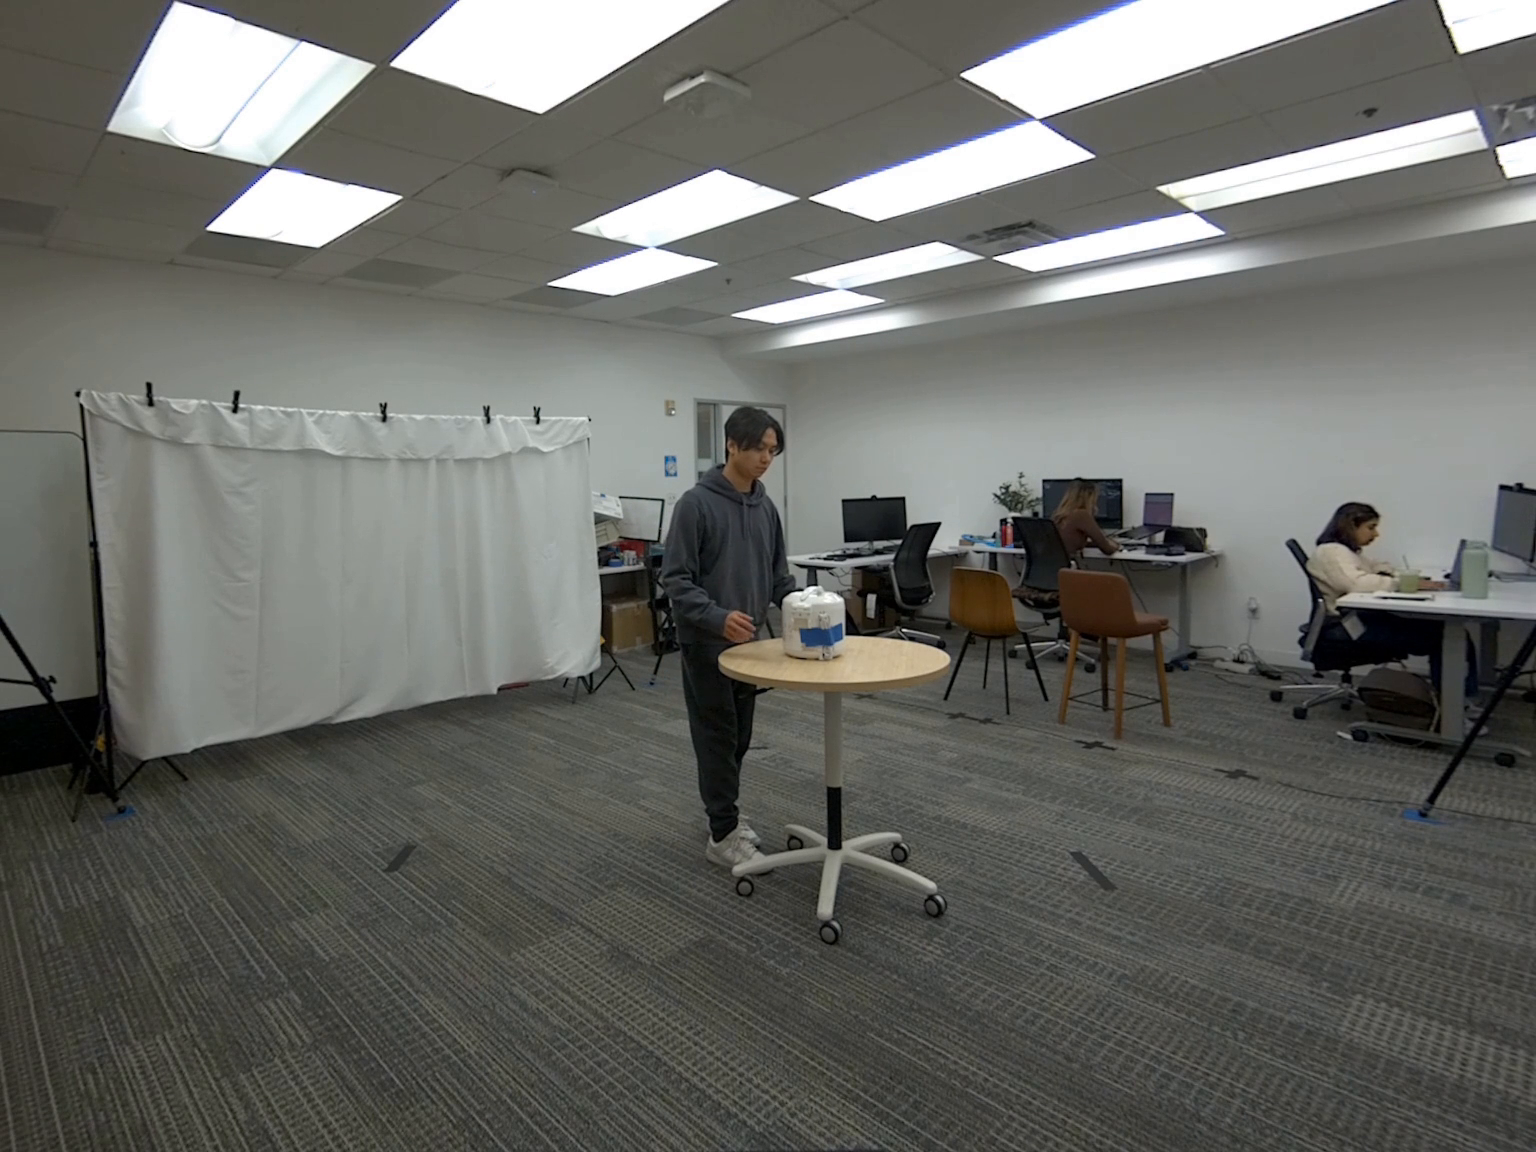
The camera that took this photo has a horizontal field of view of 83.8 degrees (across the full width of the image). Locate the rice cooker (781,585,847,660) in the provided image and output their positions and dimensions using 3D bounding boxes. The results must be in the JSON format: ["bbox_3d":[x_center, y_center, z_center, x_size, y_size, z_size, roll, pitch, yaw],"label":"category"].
[{"bbox_3d":[0.154,0.153,2.878,0.223,0.232,0.216,2,6,29],"label":"rice cooker"}]
